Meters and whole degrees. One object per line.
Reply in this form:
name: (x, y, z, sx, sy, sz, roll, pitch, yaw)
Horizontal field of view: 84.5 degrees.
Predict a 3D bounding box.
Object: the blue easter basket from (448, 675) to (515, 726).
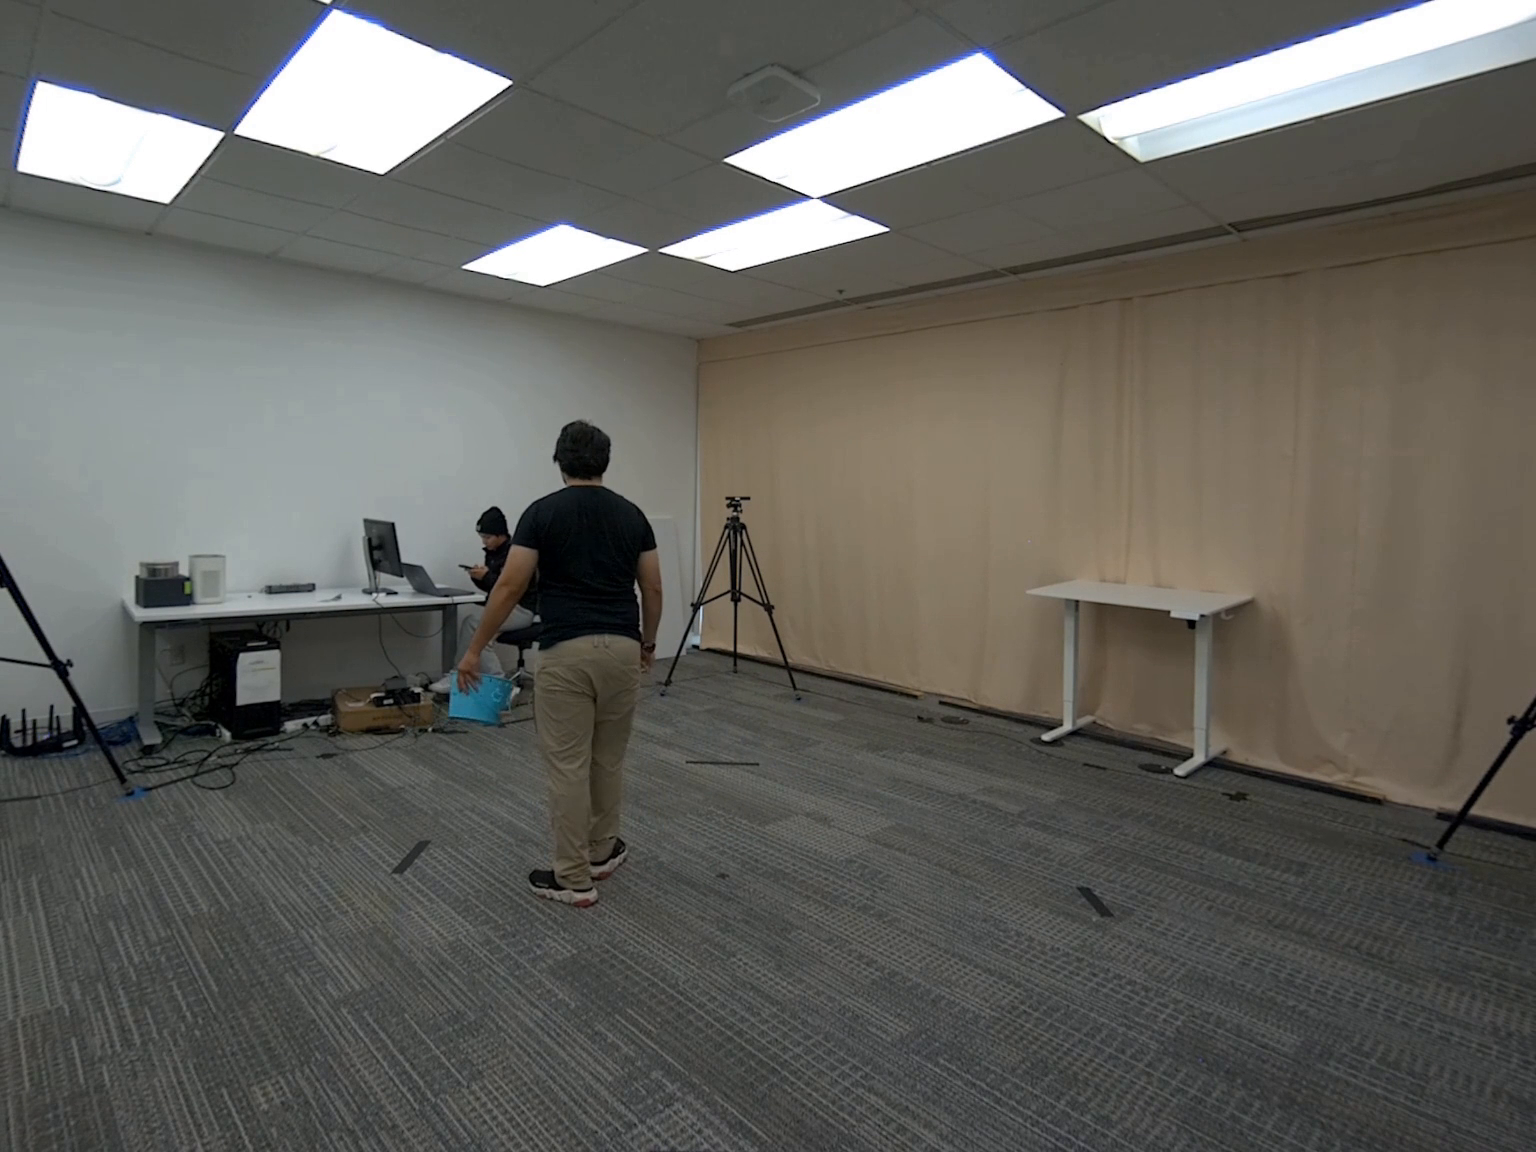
blue easter basket: (-1.022, 0.433, 3.014, 0.244, 0.157, 0.241, 10, -15, 1)
